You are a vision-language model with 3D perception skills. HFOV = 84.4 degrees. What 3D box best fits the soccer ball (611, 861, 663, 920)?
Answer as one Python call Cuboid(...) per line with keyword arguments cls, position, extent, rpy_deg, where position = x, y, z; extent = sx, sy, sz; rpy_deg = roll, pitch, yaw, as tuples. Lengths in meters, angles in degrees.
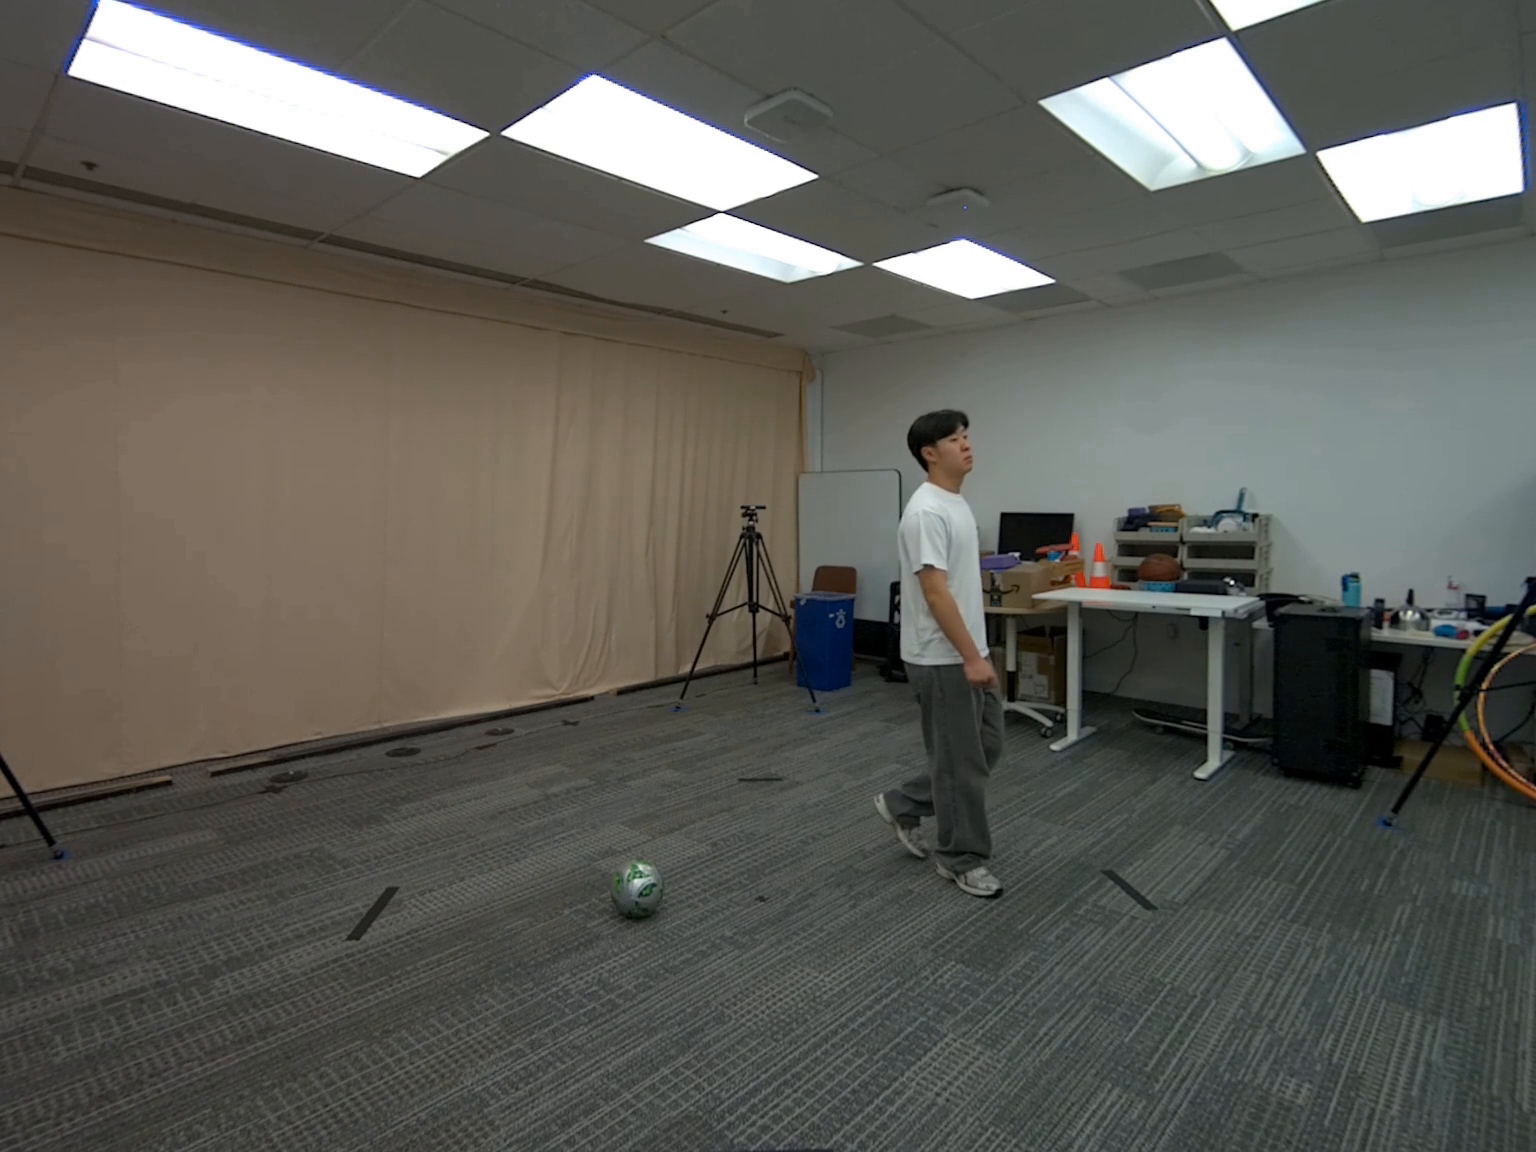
Cuboid(cls="soccer ball", position=(-0.442, 1.066, 2.870), extent=(0.187, 0.187, 0.188), rpy_deg=(0, 4, -2))
